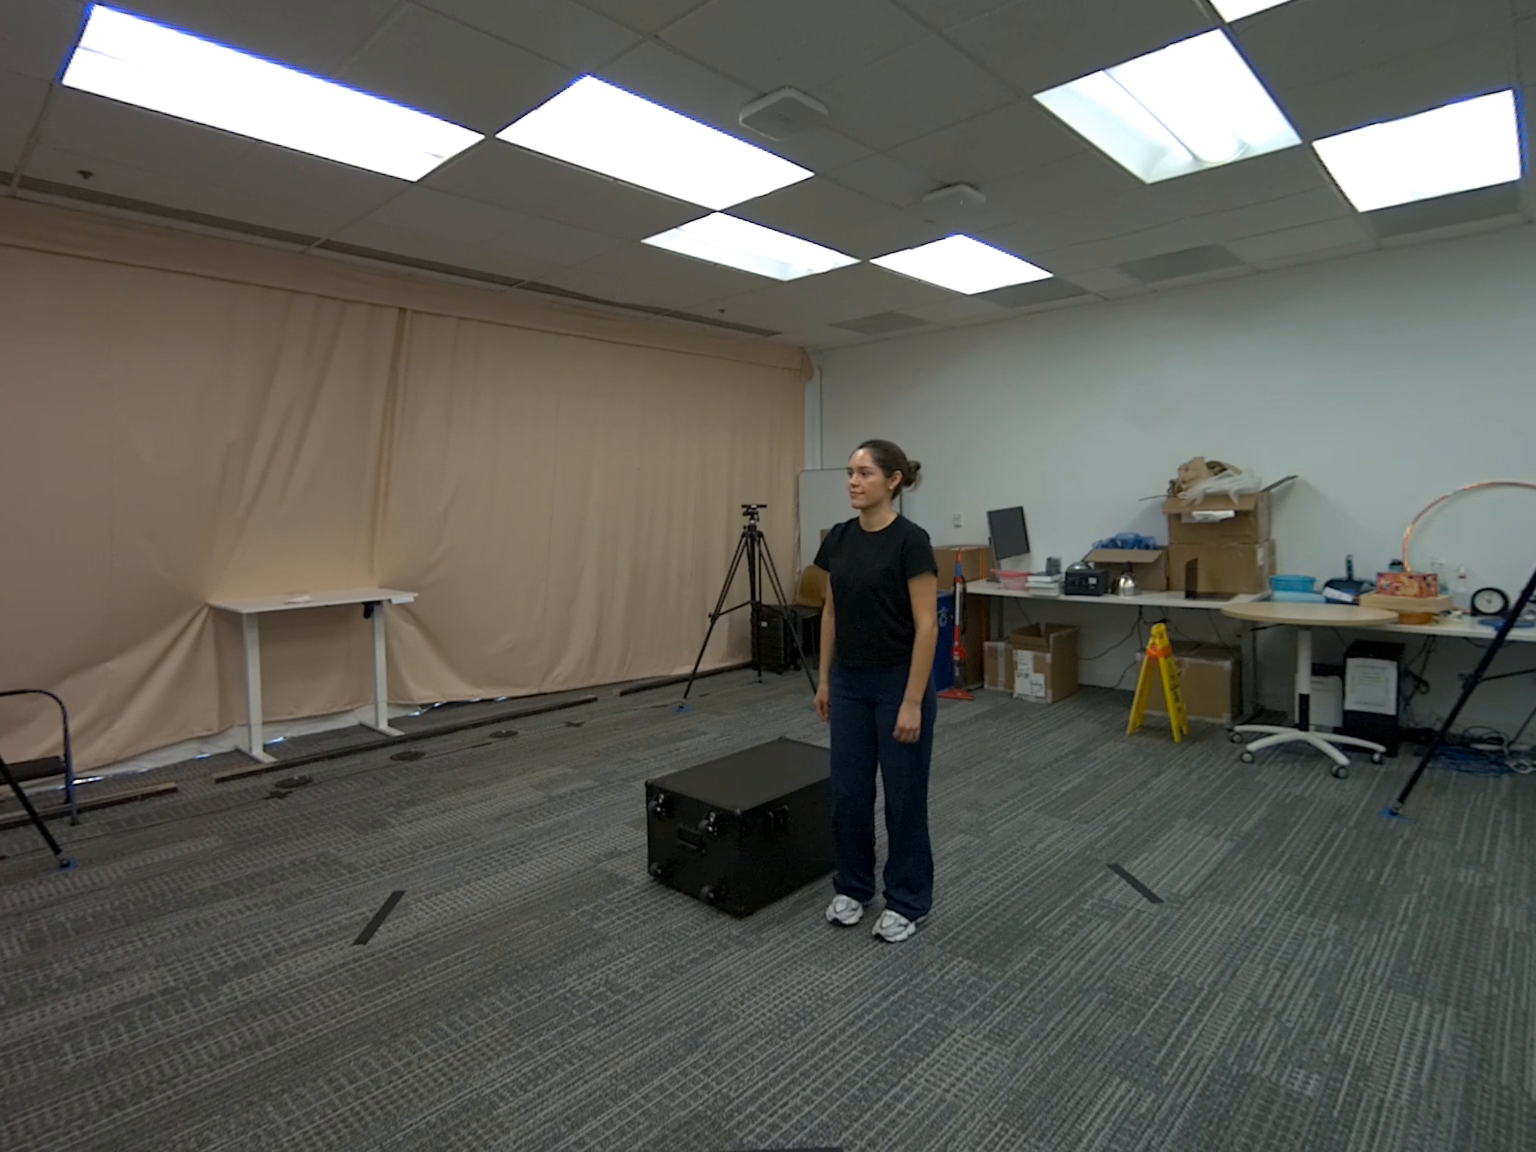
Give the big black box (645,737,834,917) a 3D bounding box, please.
[{"bbox_3d":[-0.026,0.929,3.217,0.538,0.395,0.835,3,5,42],"label":"big black box"}]
